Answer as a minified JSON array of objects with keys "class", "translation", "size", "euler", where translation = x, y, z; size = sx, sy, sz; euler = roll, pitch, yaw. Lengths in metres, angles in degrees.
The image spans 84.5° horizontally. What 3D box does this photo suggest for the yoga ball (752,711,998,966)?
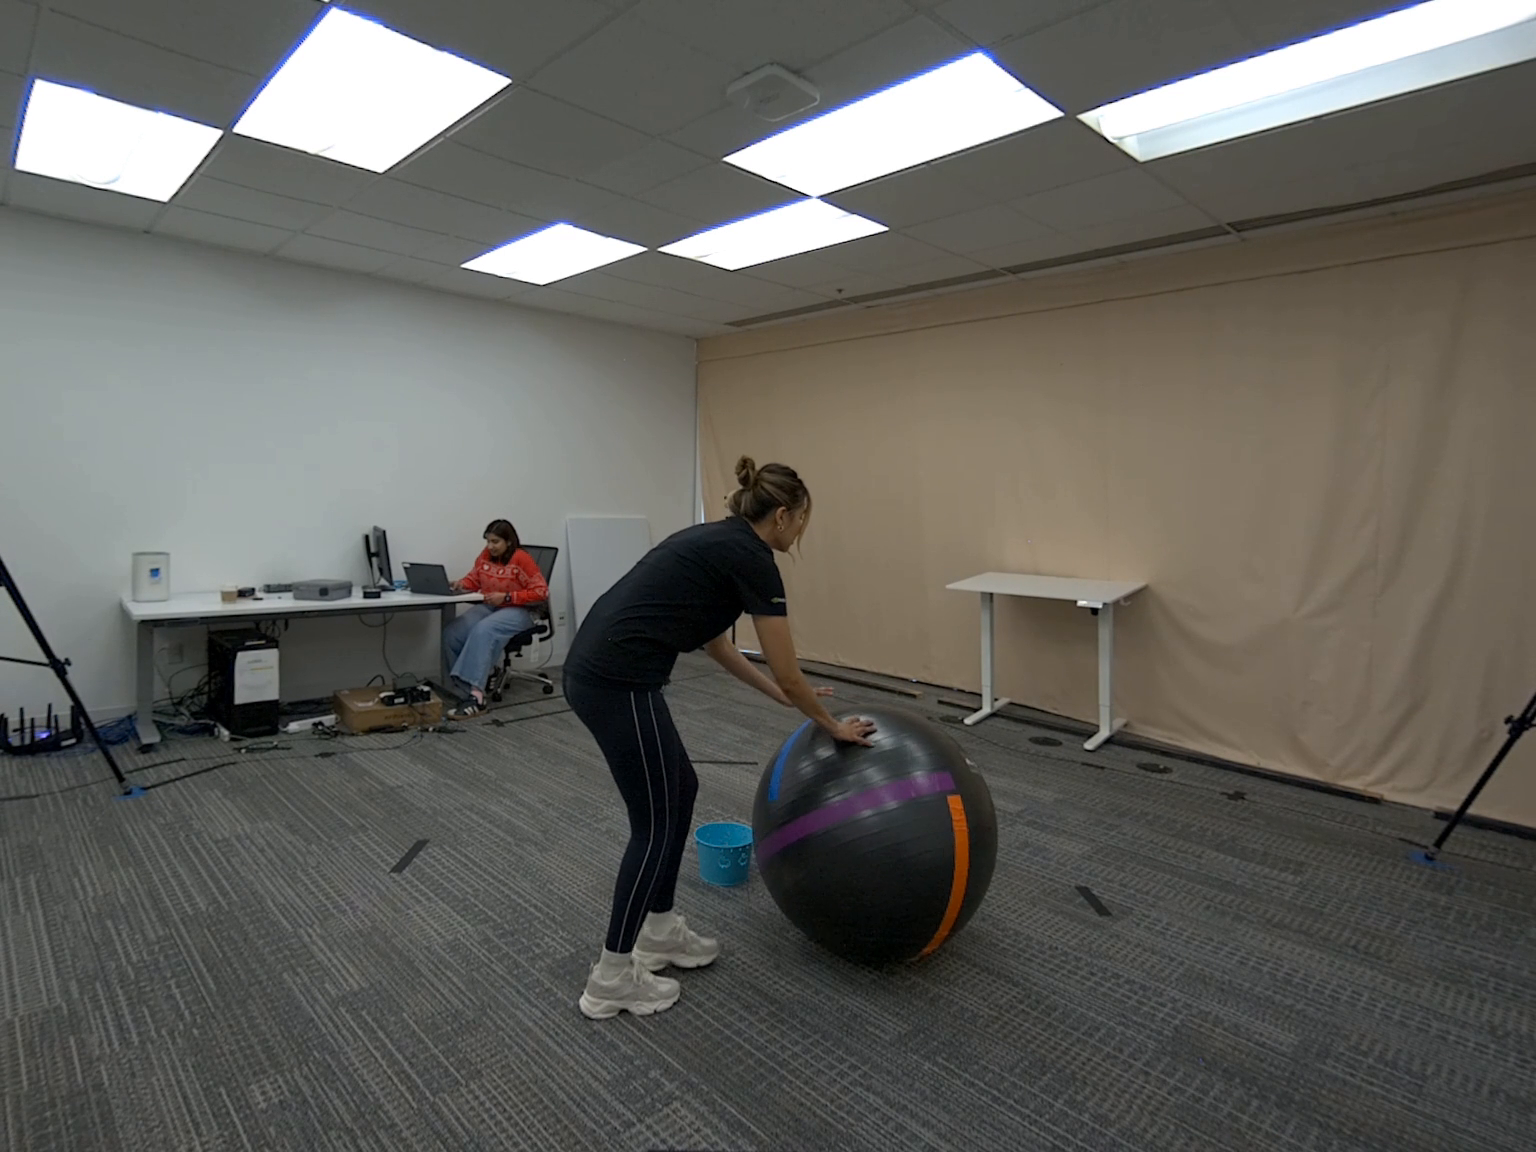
[{"class":"yoga ball","translation":[0.325,0.793,2.639],"size":[0.757,0.756,0.761],"euler":[1,4,-1]}]
